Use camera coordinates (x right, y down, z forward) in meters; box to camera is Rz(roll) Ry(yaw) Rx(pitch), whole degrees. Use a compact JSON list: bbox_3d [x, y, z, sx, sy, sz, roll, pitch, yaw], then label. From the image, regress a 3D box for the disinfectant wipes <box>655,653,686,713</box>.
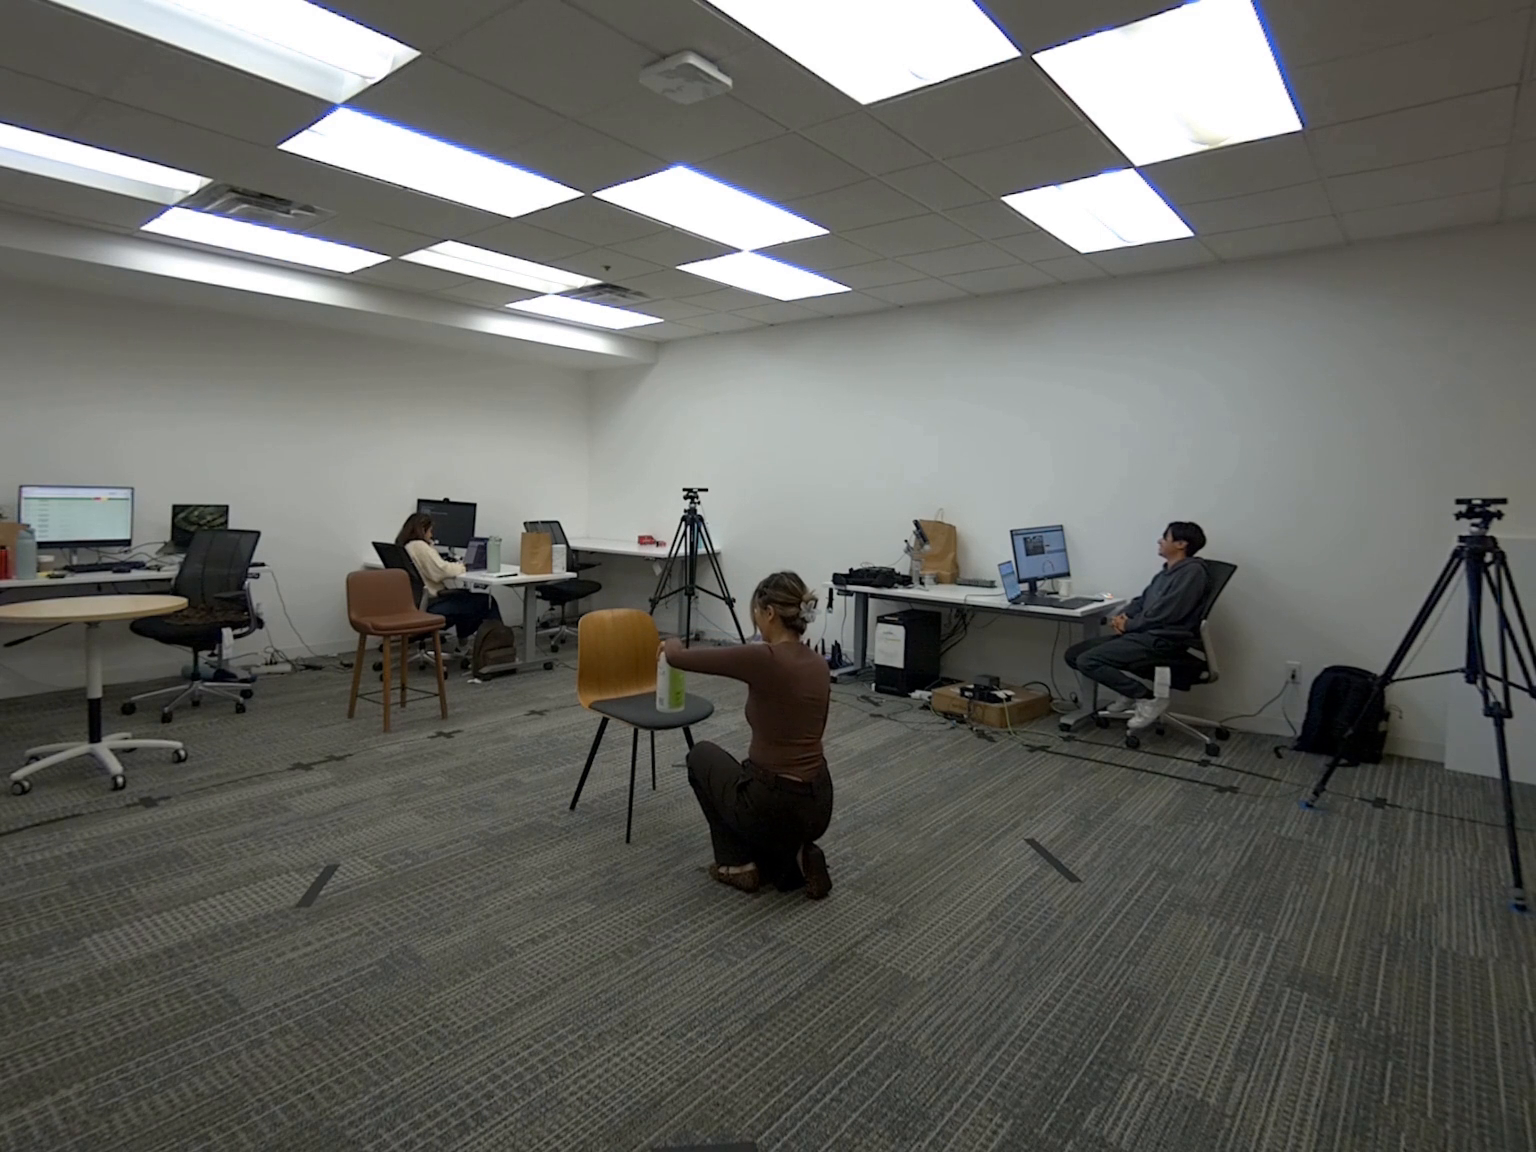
[{"bbox_3d":[-0.383,0.407,3.263,0.117,0.216,0.119,3,7,-2],"label":"disinfectant wipes"}]
